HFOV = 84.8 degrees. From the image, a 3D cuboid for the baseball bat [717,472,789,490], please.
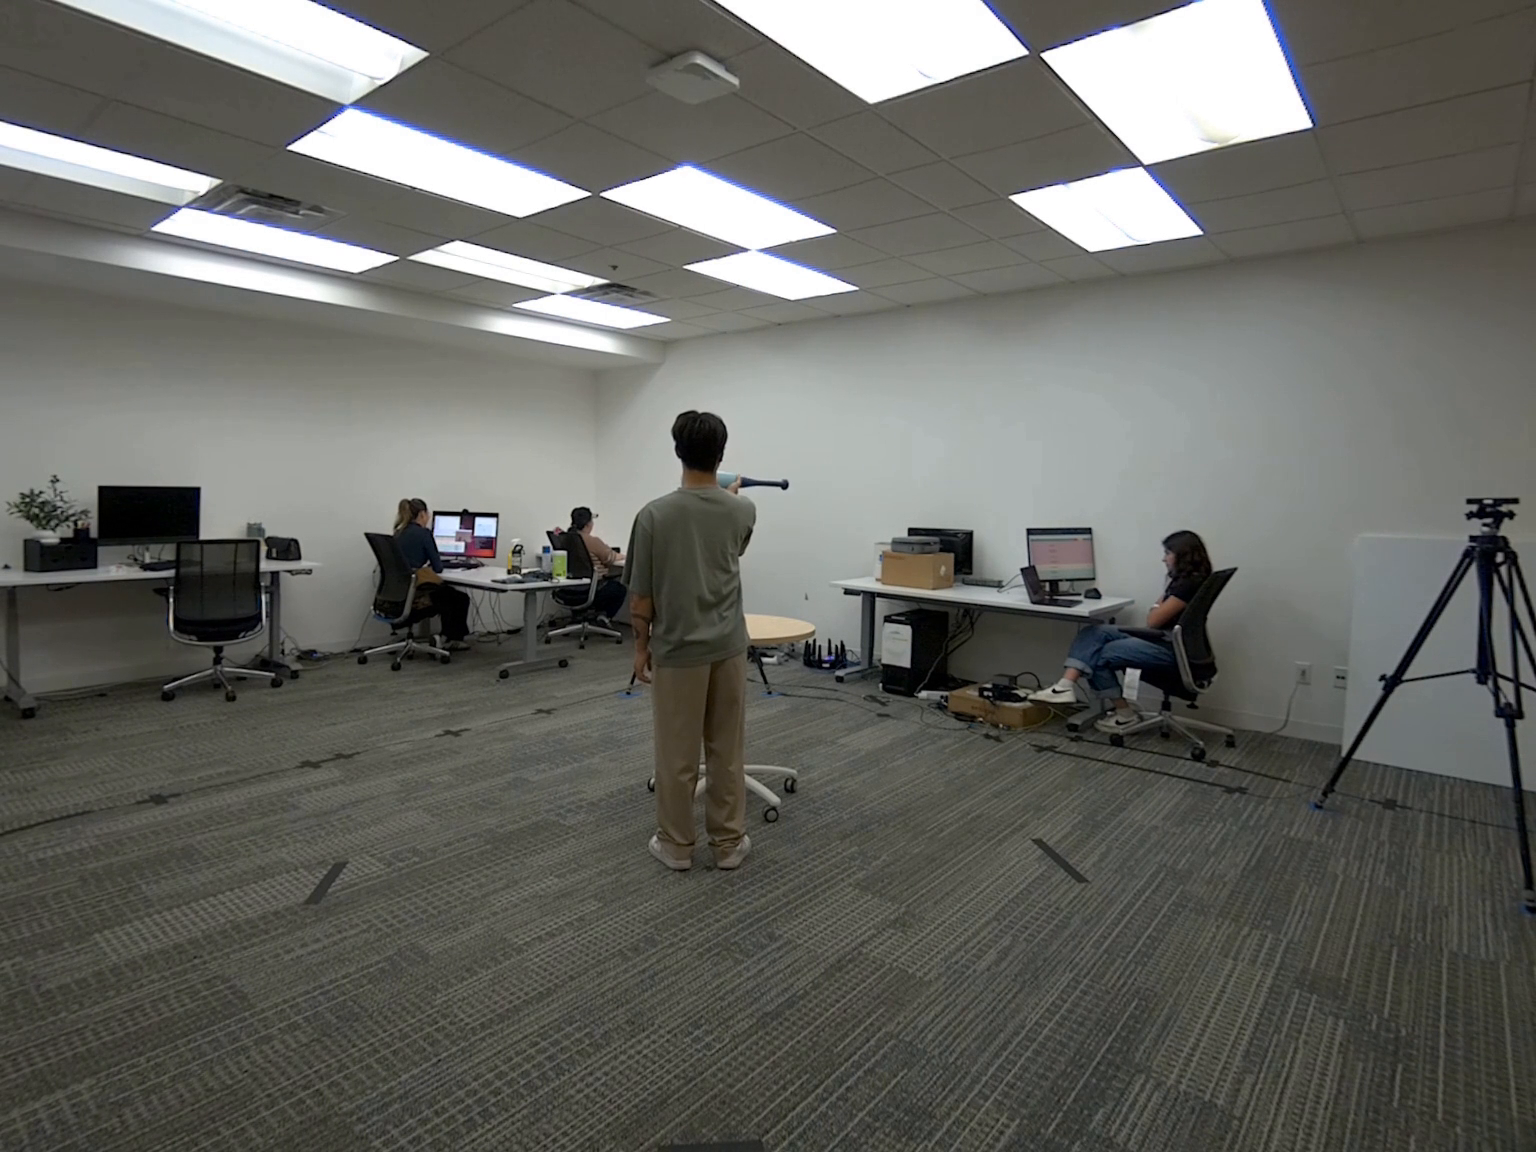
[{"bbox_3d":[-0.138,-0.417,3.726,0.527,0.089,0.092,-1,4,-35],"label":"baseball bat"}]
